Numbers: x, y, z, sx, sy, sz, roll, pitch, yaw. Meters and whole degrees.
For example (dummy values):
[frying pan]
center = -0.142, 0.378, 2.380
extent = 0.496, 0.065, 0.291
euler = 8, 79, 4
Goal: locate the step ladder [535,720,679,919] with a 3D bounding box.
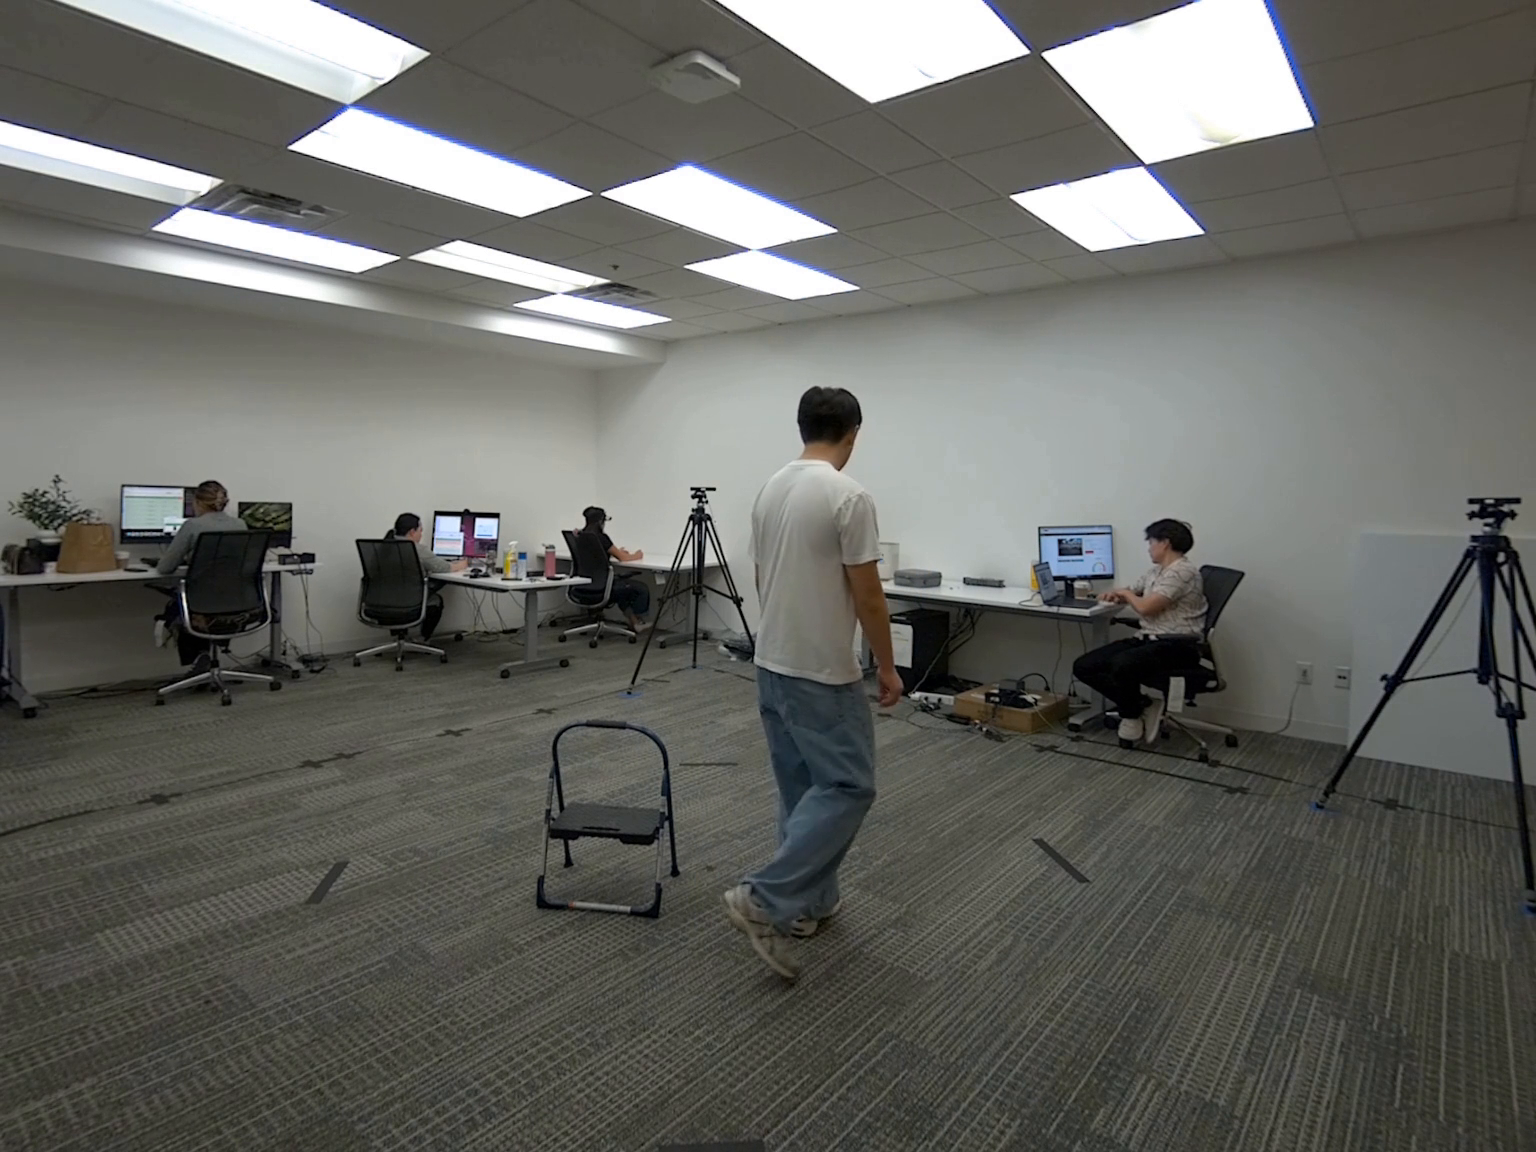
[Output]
[step ladder]
center = -0.552, 0.776, 2.911
extent = 0.434, 0.604, 0.348
euler = 1, 3, 6
